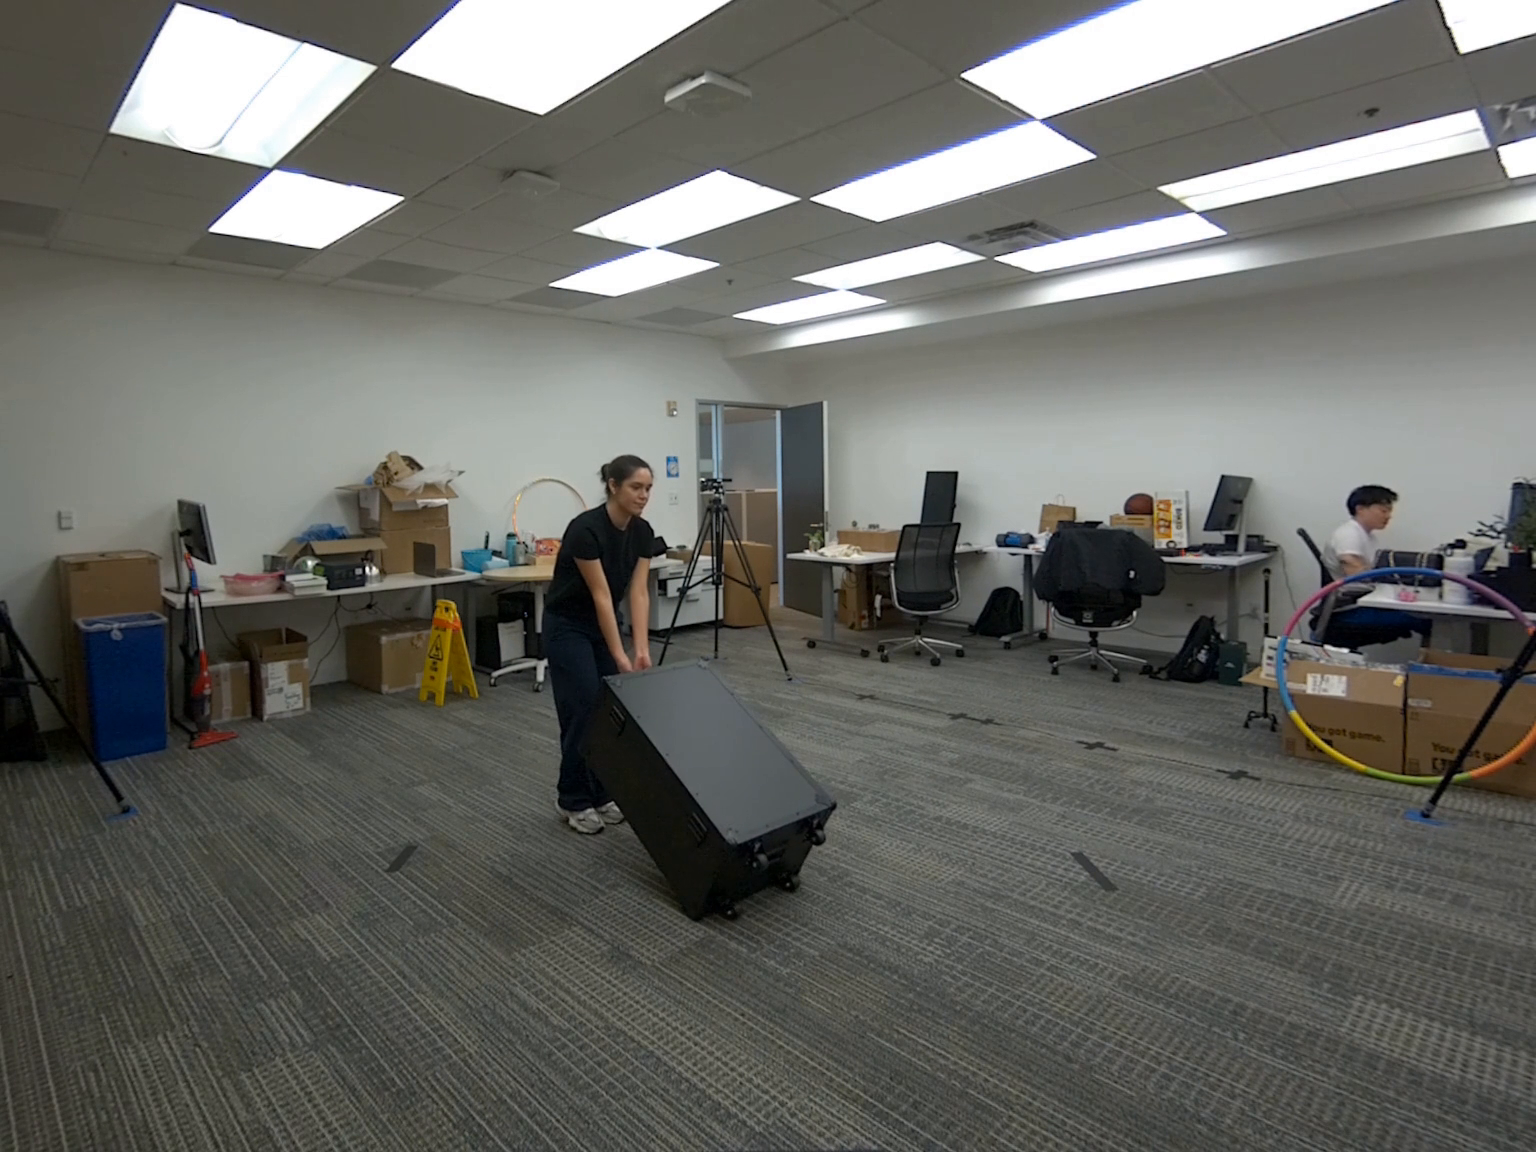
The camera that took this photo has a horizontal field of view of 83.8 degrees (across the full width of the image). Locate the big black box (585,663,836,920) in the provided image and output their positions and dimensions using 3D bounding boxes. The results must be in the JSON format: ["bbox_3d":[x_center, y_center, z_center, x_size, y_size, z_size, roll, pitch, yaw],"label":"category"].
[{"bbox_3d":[-0.228,0.731,3.009,0.507,0.391,0.895,-6,37,-43],"label":"big black box"}]
